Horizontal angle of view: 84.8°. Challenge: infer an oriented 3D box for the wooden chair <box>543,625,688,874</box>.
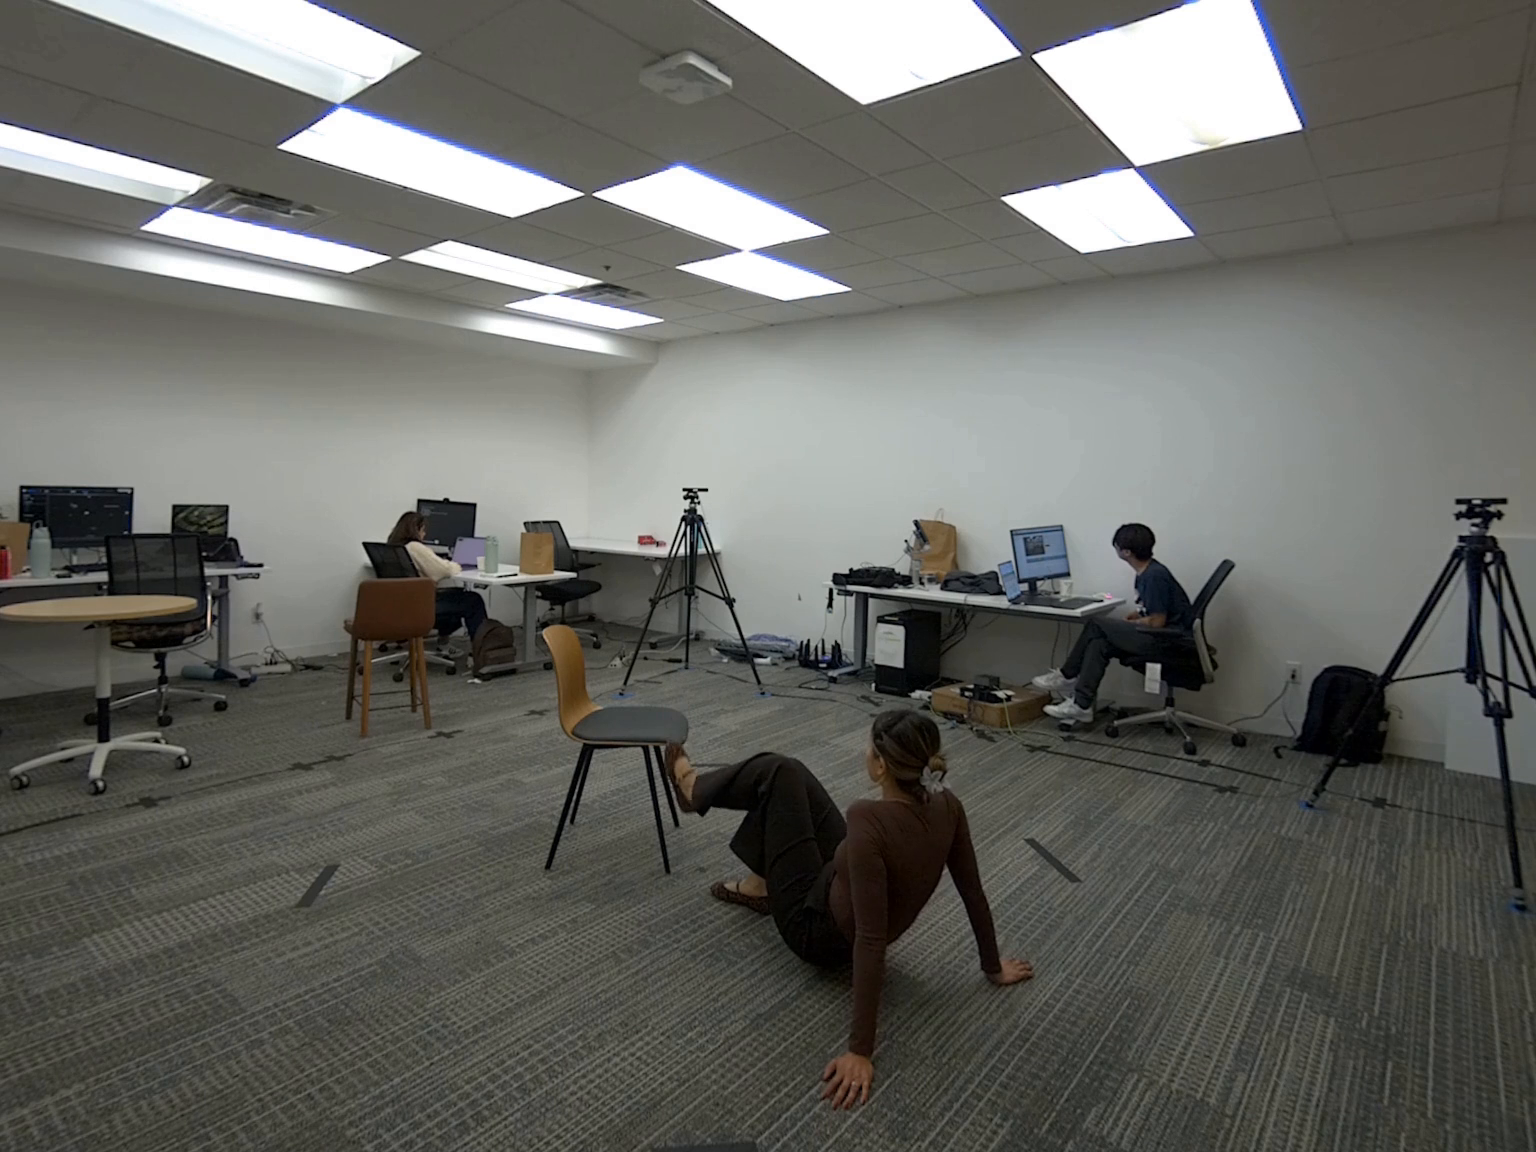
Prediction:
[{"bbox_3d":[-0.582,0.620,3.270,0.524,0.875,0.479,-3,2,0],"label":"wooden chair"}]
